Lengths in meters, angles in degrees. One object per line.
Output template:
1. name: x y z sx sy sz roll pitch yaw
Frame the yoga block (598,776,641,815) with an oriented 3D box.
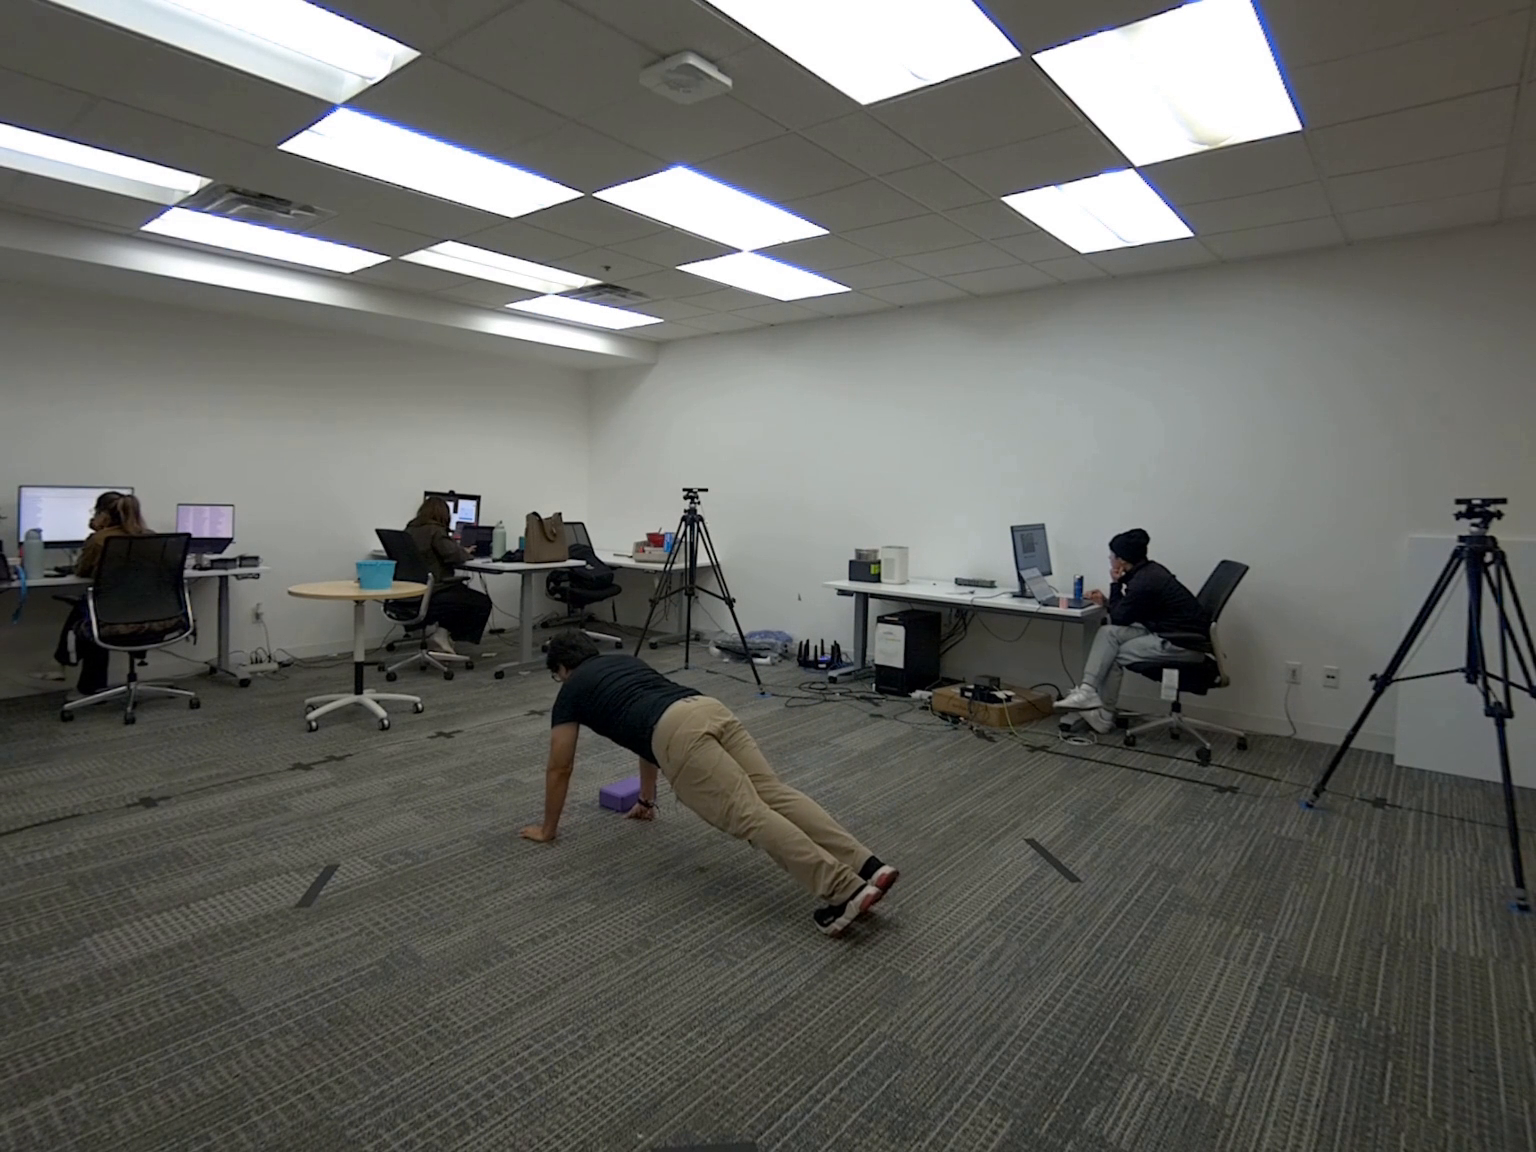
1. yoga block: -0.632 0.959 3.766 0.154 0.076 0.223 3 6 36
